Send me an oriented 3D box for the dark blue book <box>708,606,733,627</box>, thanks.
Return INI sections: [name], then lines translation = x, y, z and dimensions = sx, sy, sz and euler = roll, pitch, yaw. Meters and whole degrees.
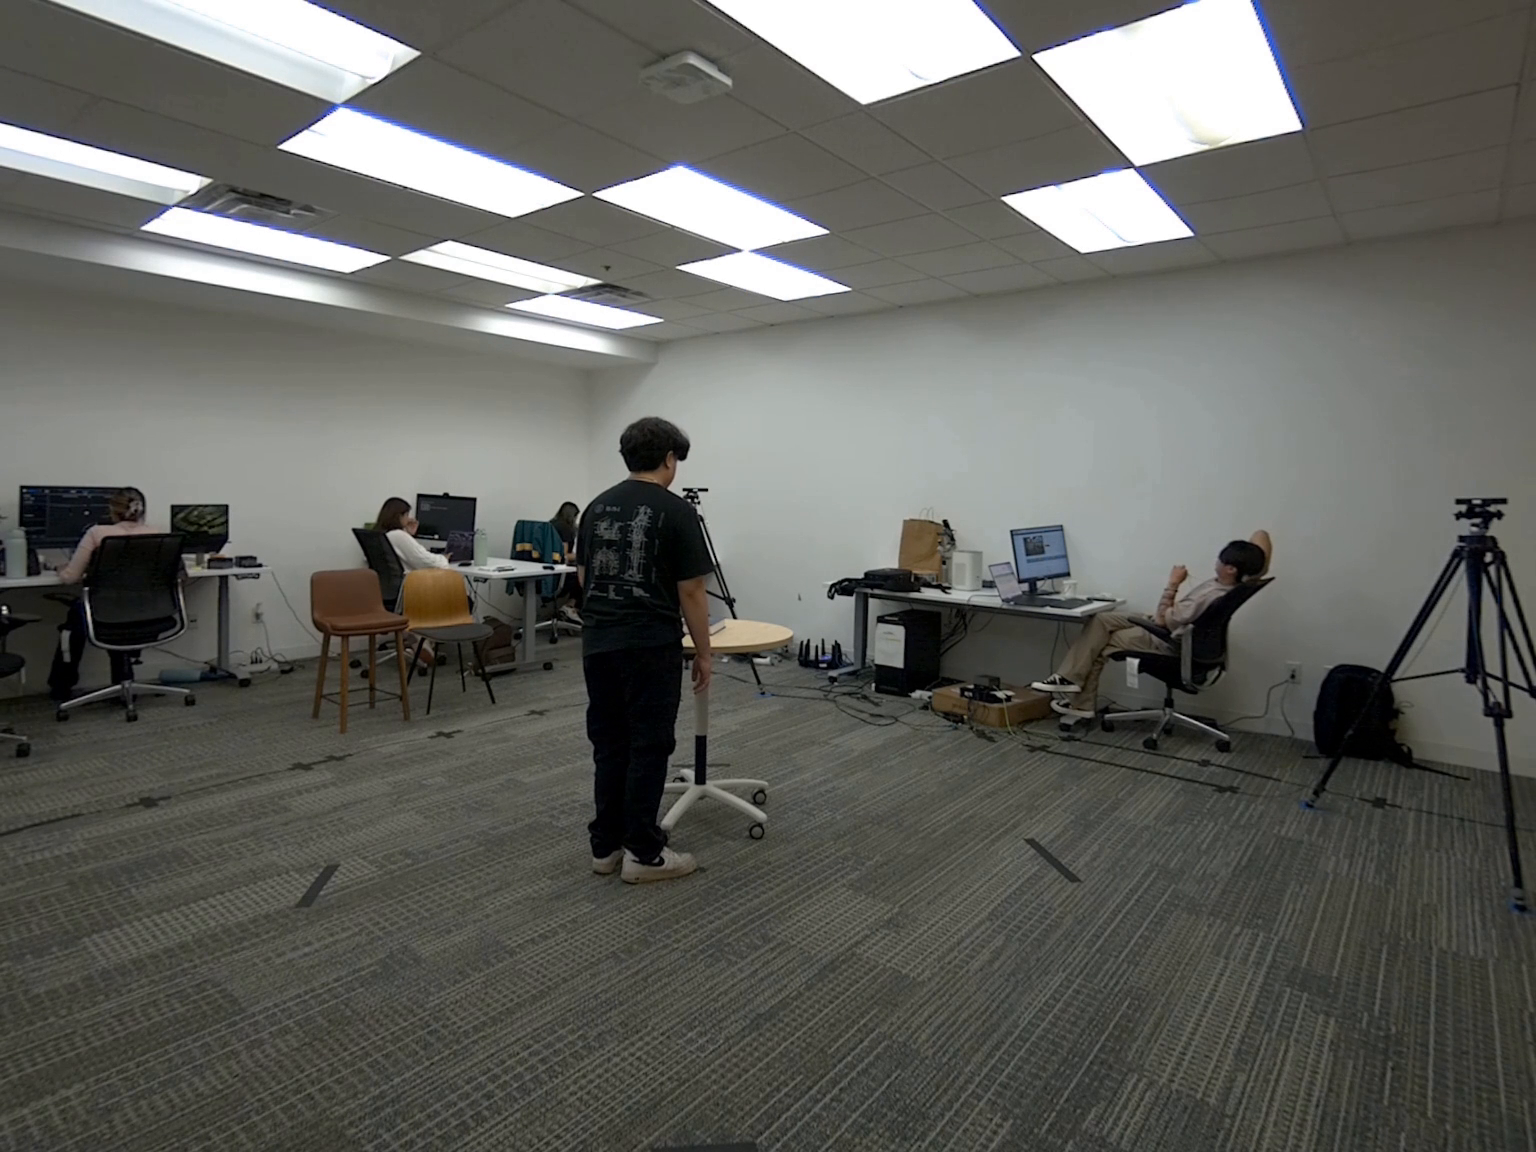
[dark blue book]
translation = -0.296, 0.207, 3.614
dimensions = 0.166, 0.045, 0.242
euler = 2, 5, 11
